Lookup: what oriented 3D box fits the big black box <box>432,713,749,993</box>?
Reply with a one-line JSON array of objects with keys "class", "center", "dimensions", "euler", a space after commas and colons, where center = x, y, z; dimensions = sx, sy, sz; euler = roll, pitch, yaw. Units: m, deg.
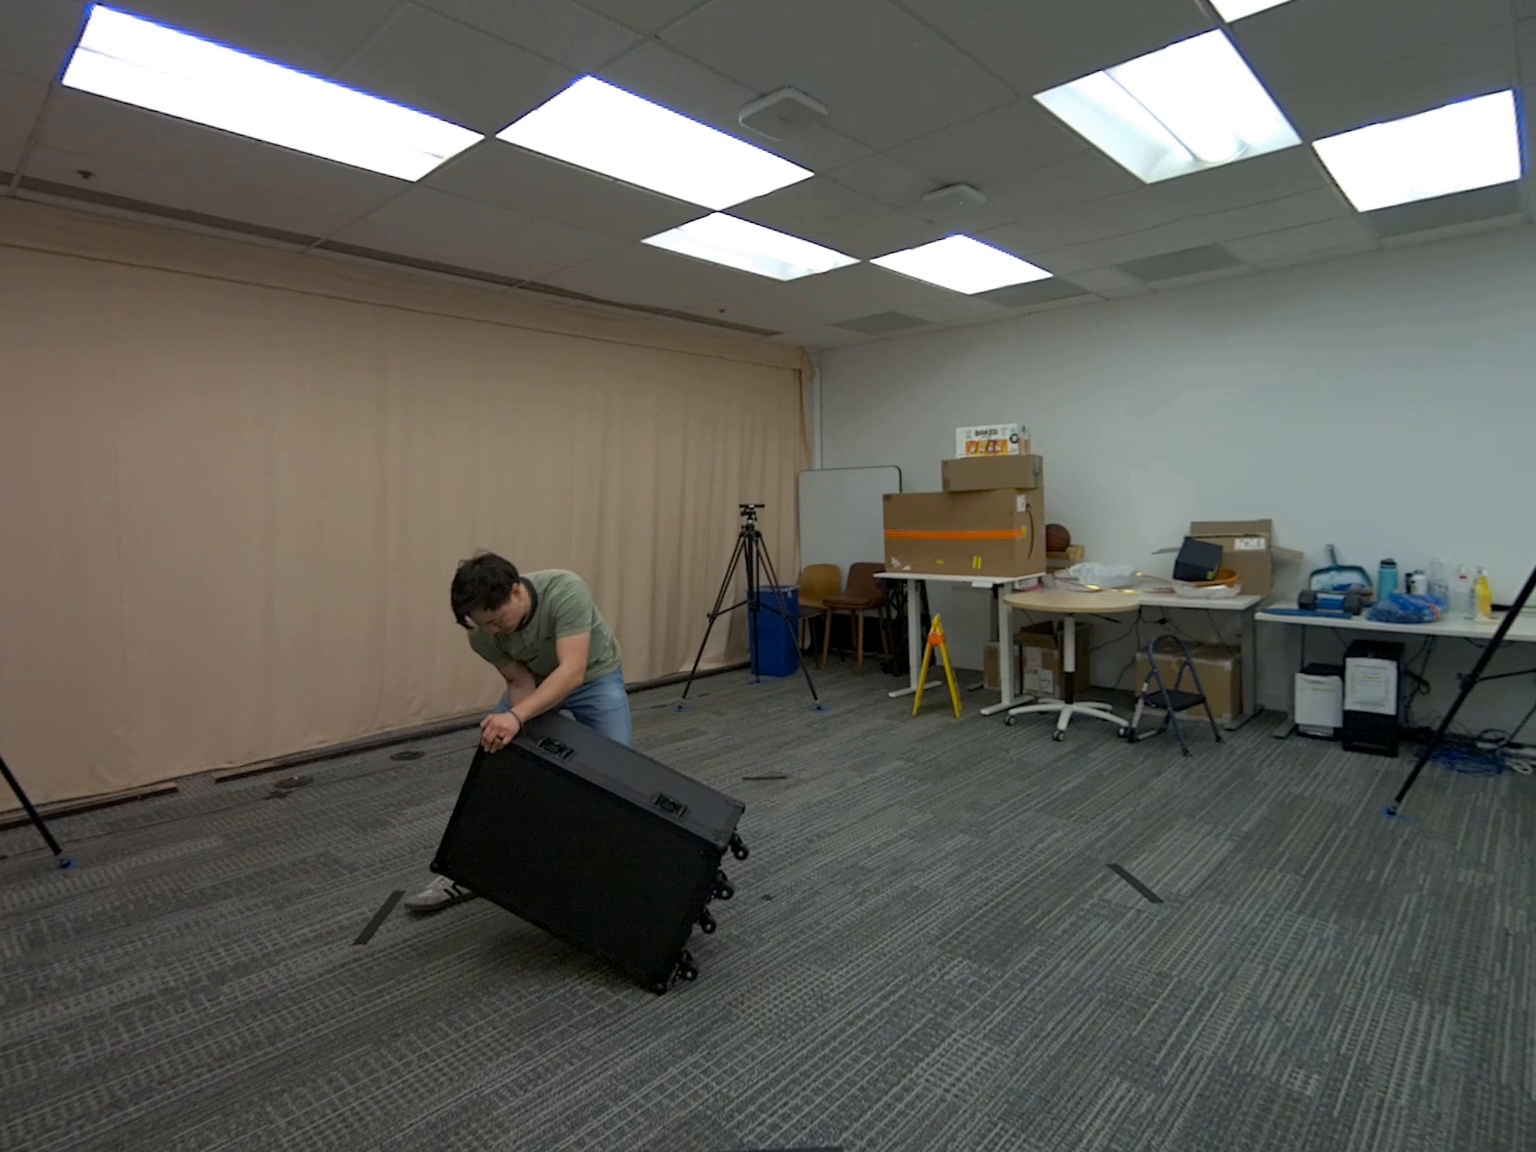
[{"class": "big black box", "center": [-0.558, 0.799, 2.613], "dimensions": [0.870, 0.520, 0.393], "euler": [24, 7, 7]}]
